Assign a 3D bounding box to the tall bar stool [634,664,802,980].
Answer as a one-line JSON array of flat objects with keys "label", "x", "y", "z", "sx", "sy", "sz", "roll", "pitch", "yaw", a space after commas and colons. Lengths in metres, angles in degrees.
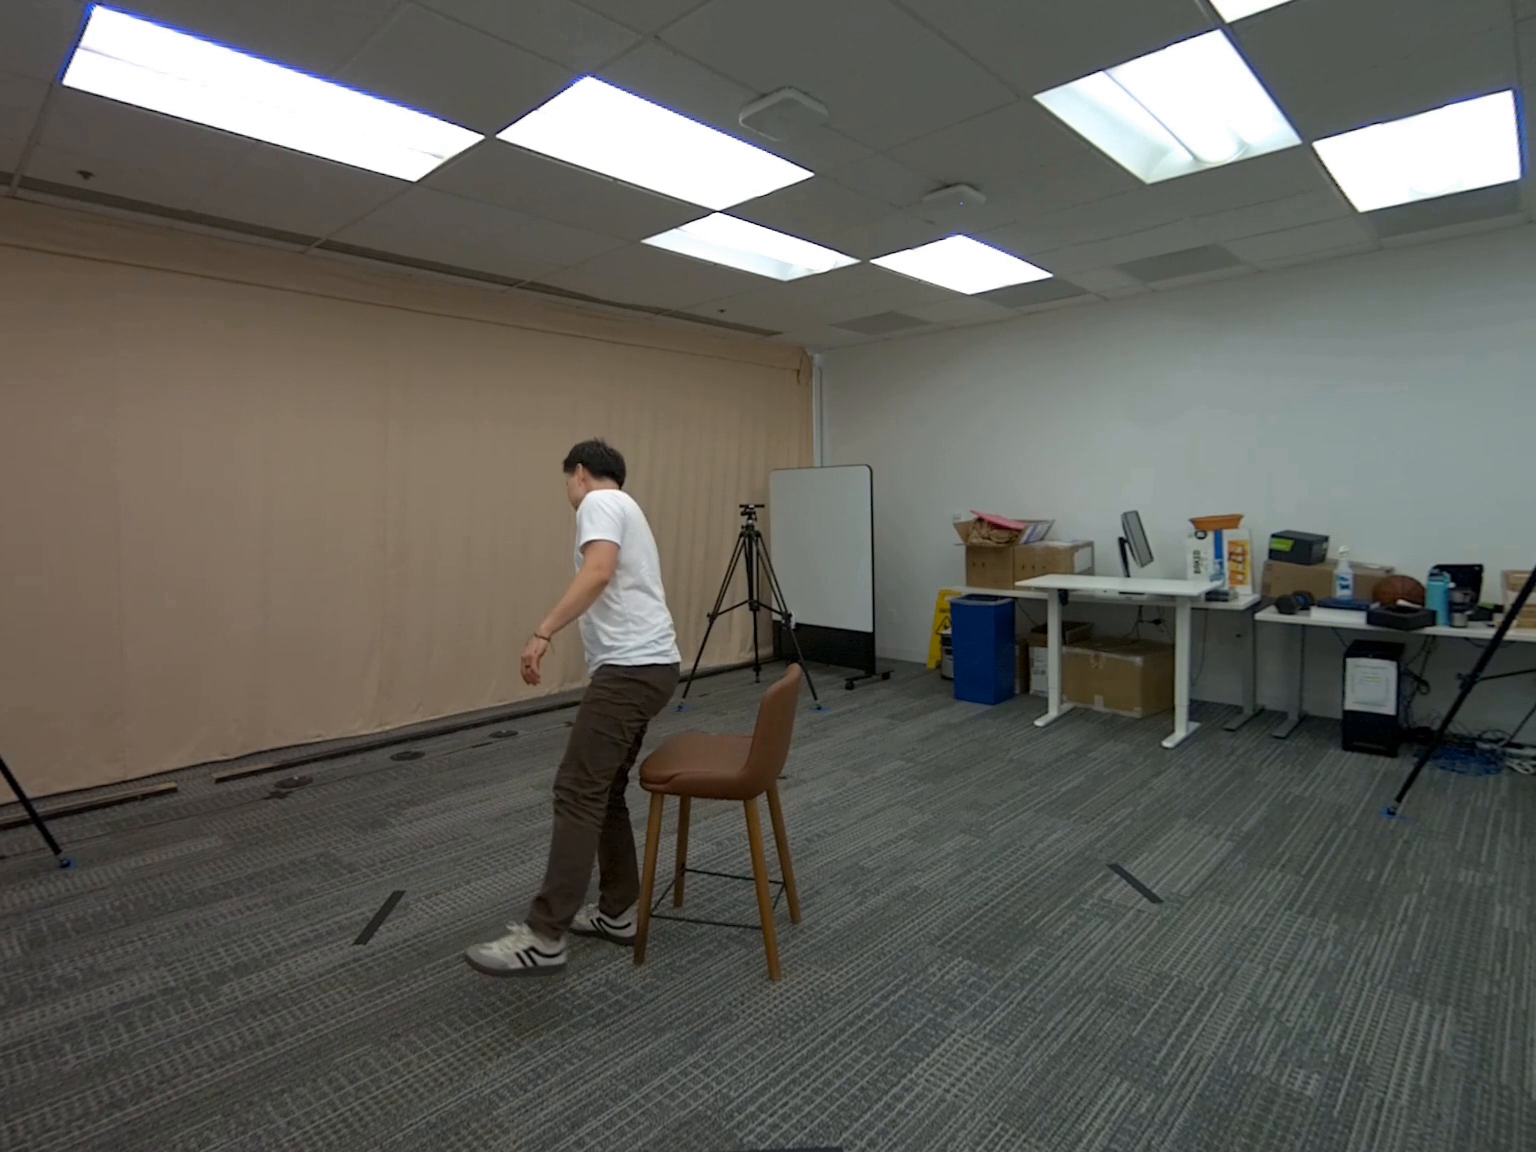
[{"label": "tall bar stool", "x": -0.147, "y": 0.736, "z": 2.668, "sx": 0.476, "sy": 0.887, "sz": 0.449, "roll": 2, "pitch": 4, "yaw": 16}]
